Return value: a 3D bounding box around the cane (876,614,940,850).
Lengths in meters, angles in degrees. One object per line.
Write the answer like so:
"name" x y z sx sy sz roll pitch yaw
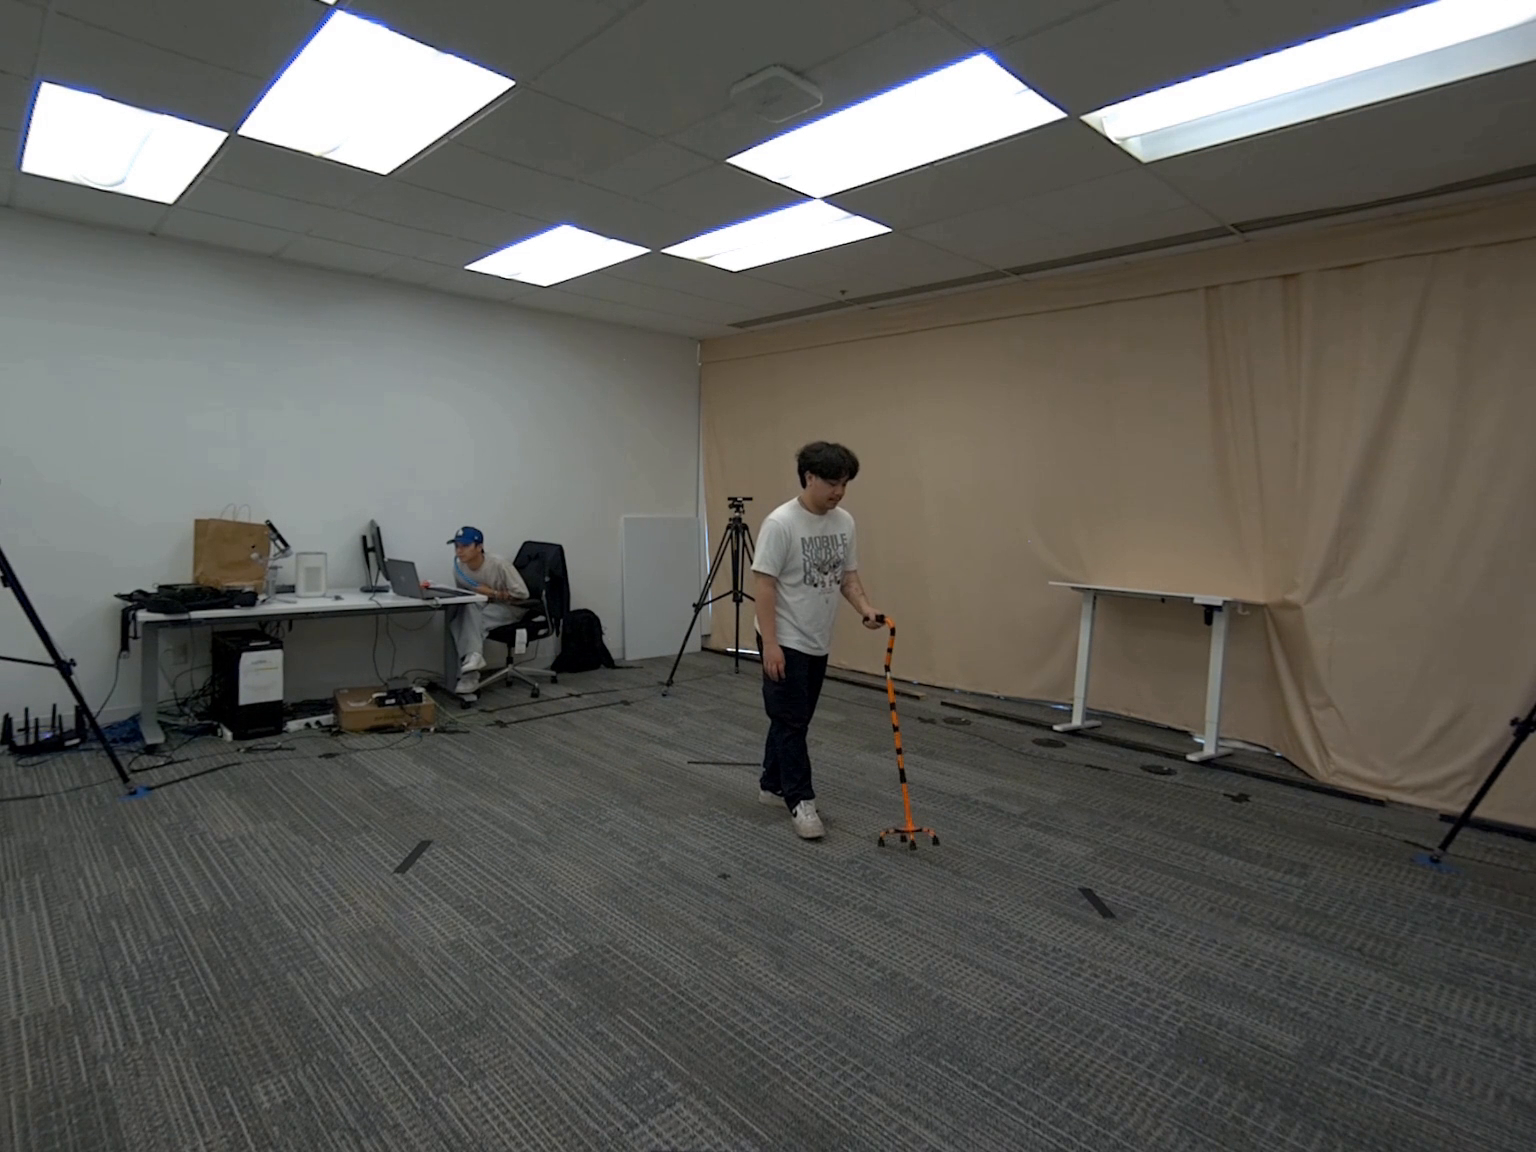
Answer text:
"cane" 0.495 0.618 3.392 0.148 0.916 0.209 1 -12 -31
